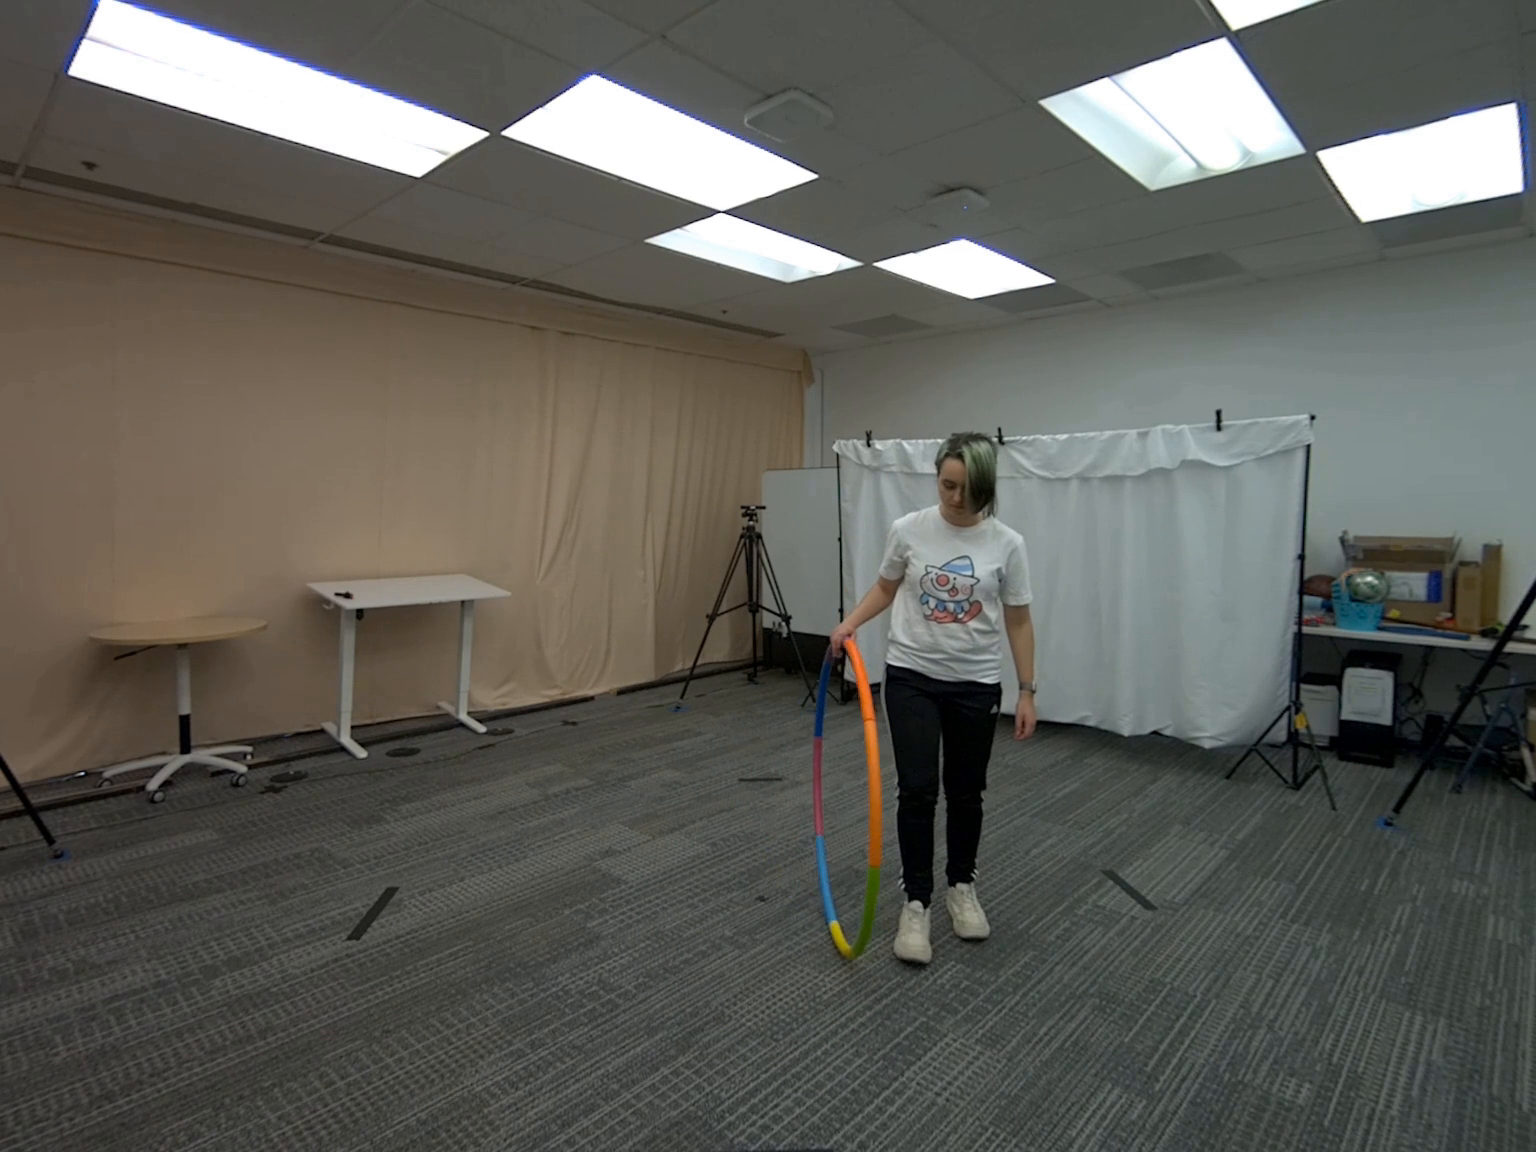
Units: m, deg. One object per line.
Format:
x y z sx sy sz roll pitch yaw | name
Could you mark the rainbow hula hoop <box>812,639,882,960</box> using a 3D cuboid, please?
0.240 0.685 2.694 0.035 0.977 0.985 1 4 -6 | rainbow hula hoop
